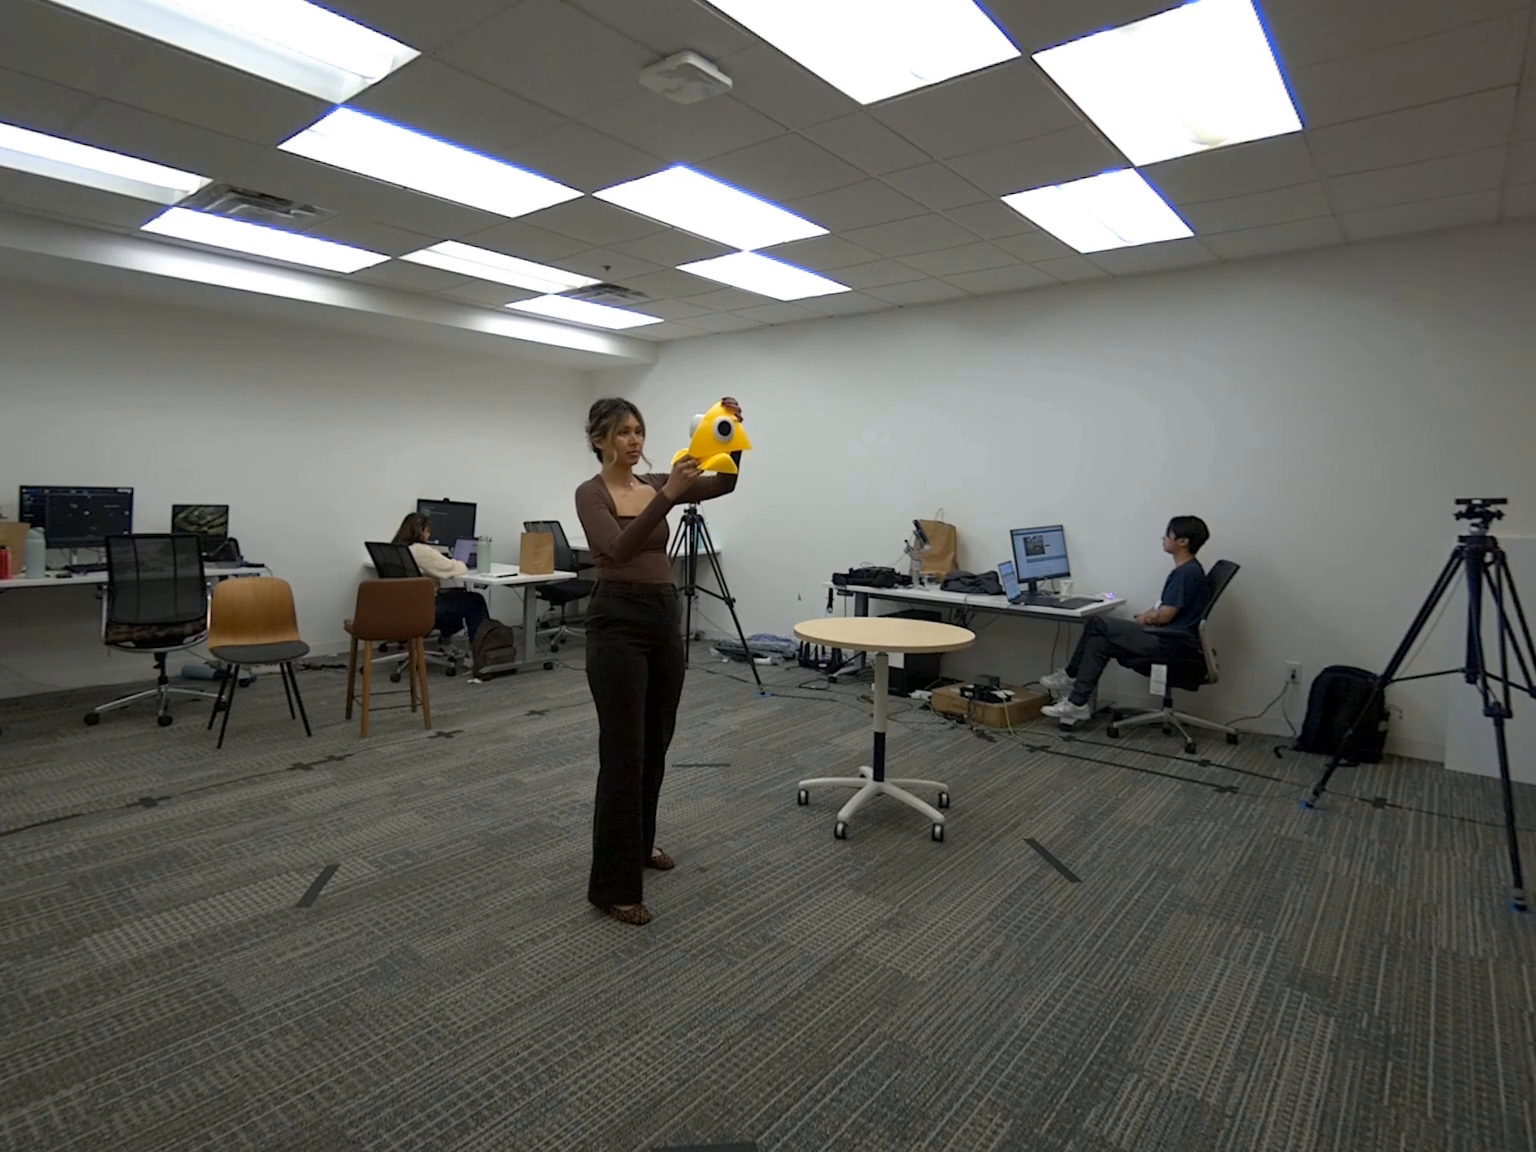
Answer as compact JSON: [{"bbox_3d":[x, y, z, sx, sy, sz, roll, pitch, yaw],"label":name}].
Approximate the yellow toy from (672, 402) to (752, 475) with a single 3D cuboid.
[{"bbox_3d":[-0.188,-0.439,2.595,0.212,0.230,0.187,12,7,36],"label":"yellow toy"}]
